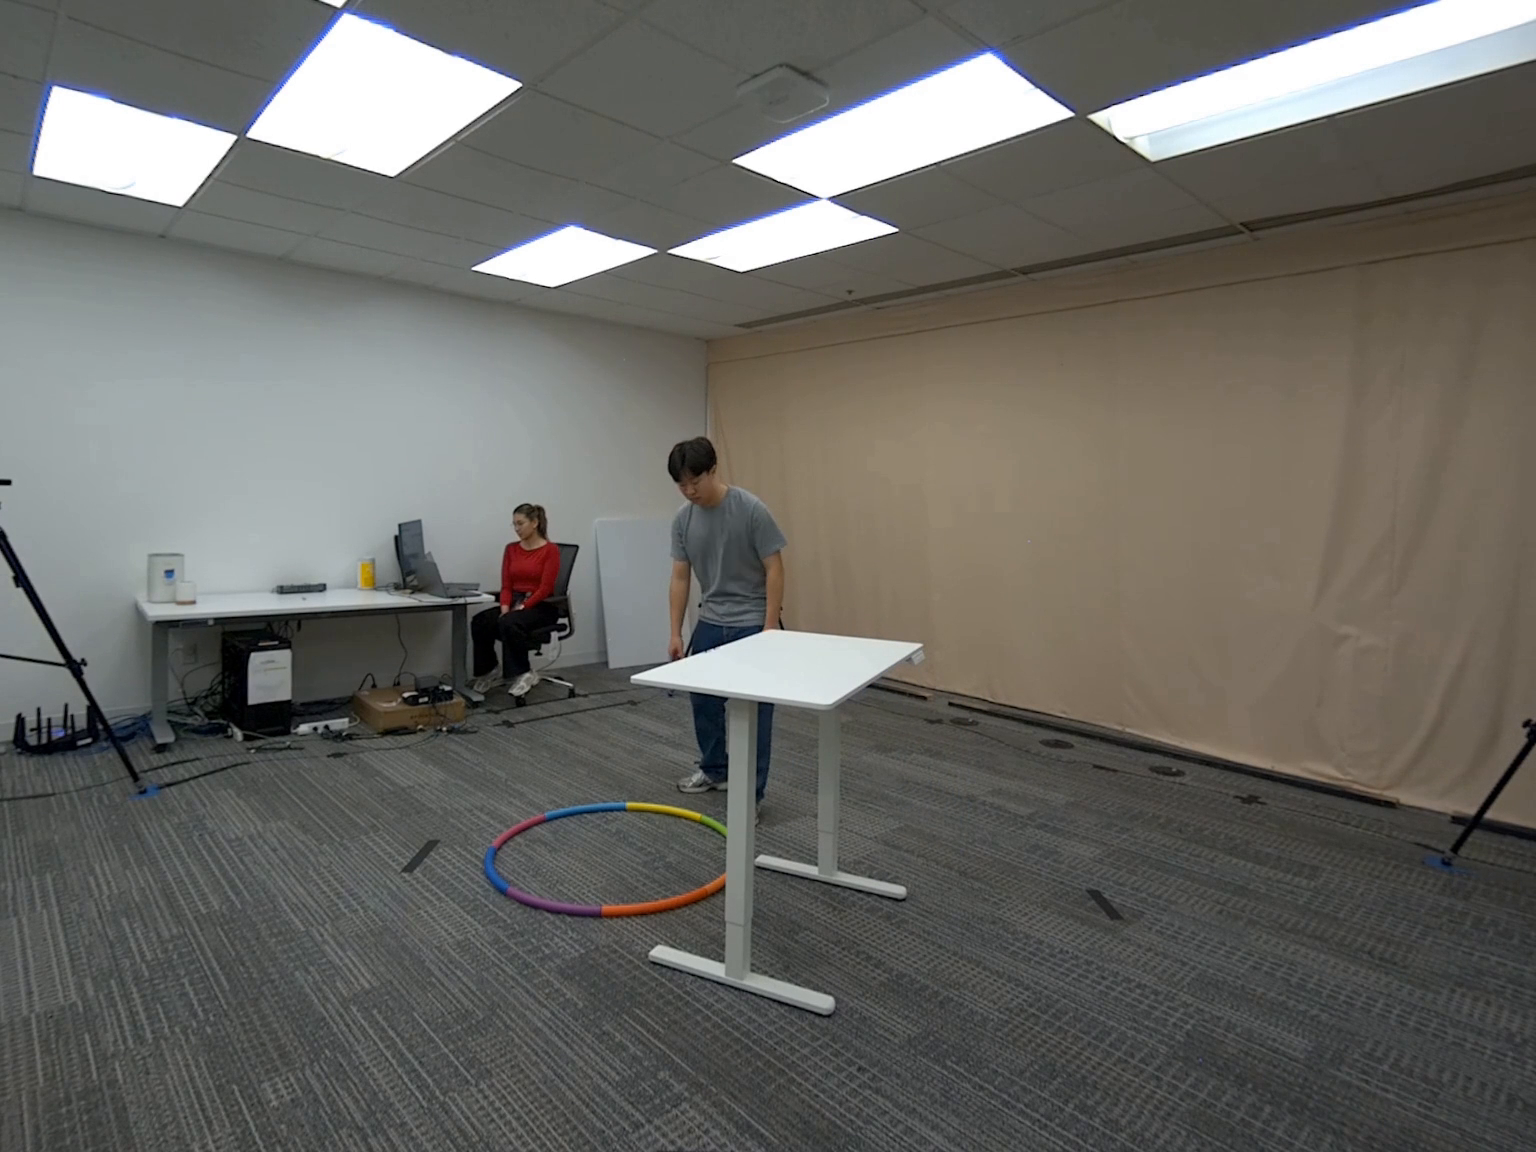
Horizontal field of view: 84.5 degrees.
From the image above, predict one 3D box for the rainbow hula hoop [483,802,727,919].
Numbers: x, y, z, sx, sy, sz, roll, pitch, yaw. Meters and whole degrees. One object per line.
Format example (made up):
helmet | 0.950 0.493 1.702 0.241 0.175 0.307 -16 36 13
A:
rainbow hula hoop | -0.592 1.052 3.265 0.978 0.035 0.982 1 5 -1
